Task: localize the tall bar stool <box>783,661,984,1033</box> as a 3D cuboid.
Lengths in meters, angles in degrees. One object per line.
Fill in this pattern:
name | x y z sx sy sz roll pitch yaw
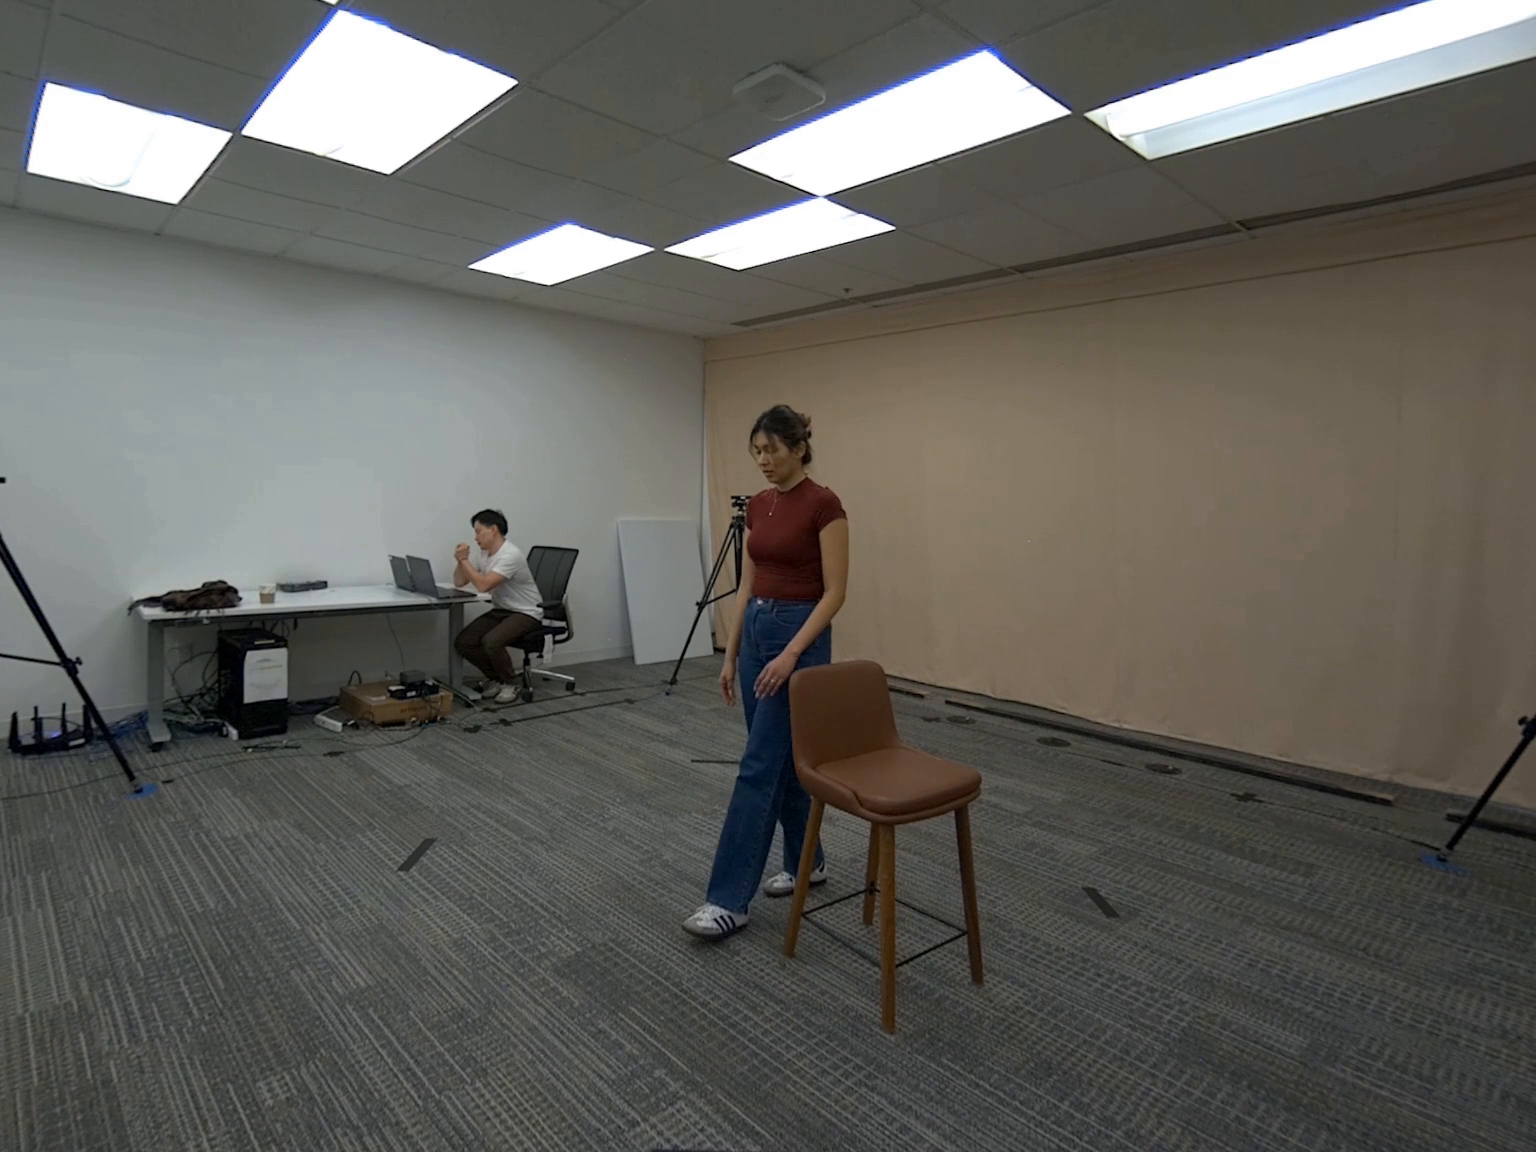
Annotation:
tall bar stool | 0.330 0.735 2.479 0.446 0.888 0.479 -2 3 -38
